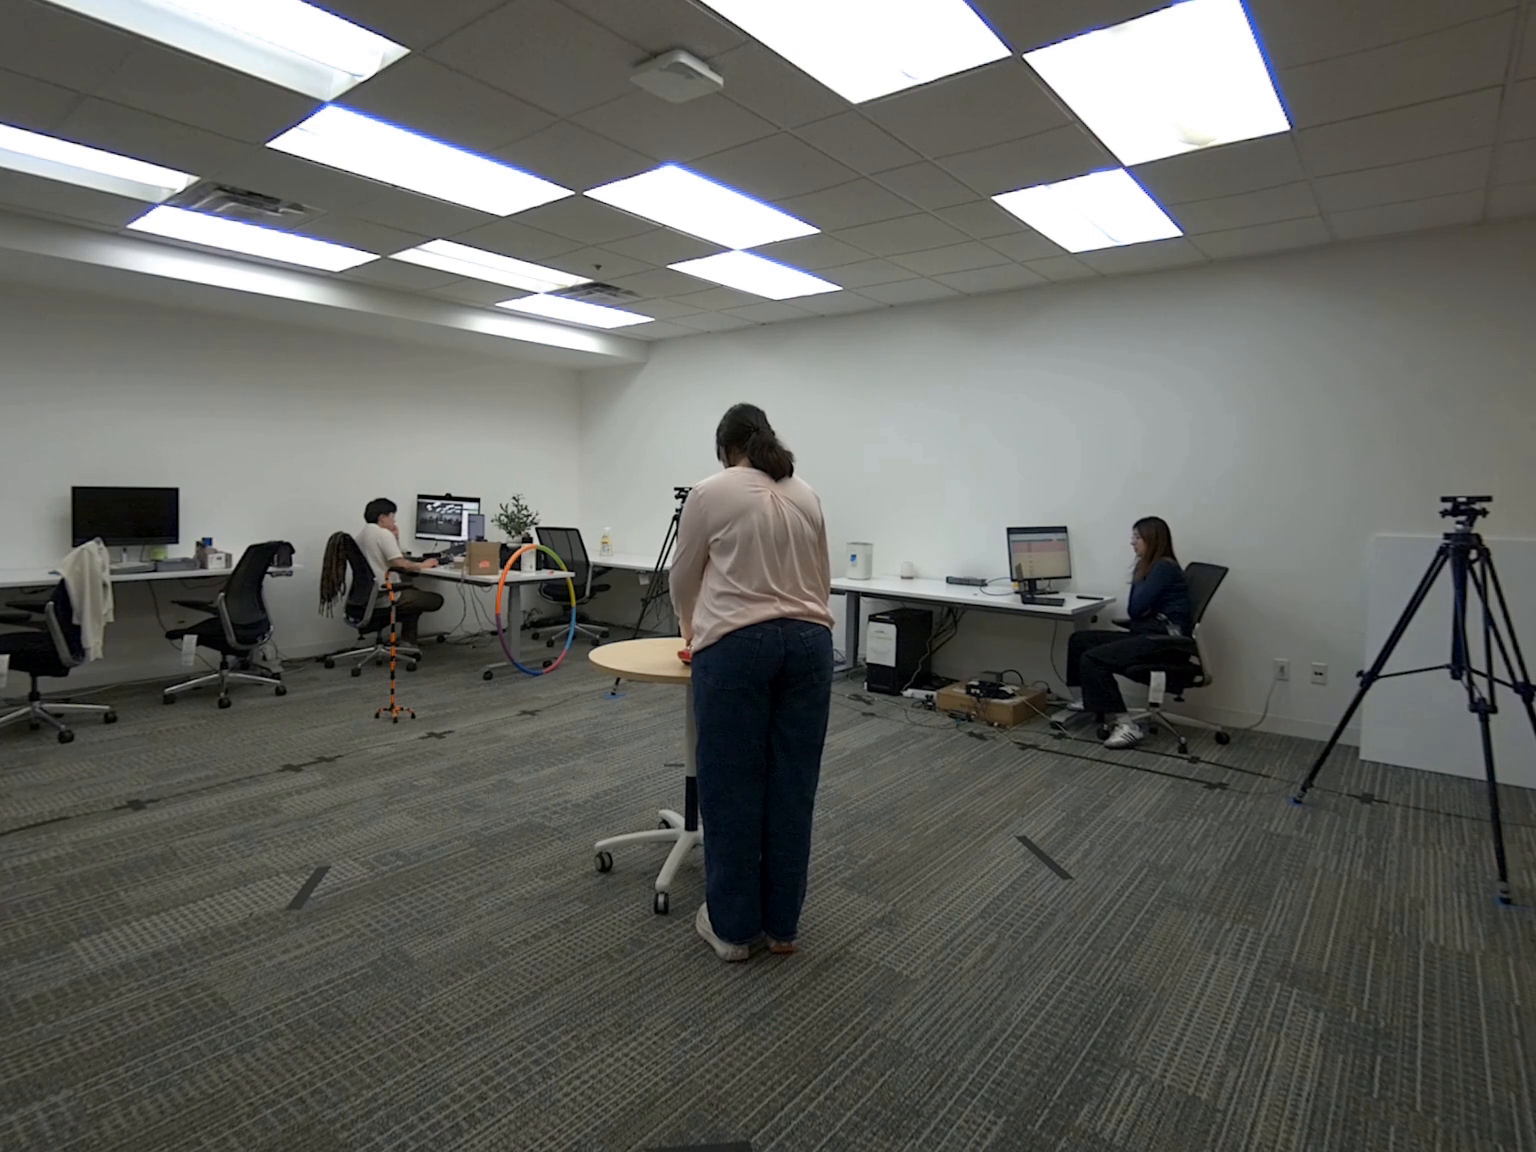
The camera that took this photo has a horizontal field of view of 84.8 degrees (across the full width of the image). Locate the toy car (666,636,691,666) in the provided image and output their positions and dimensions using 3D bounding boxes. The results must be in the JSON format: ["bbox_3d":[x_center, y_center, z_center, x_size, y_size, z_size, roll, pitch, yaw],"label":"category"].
[{"bbox_3d":[-0.223,0.266,2.926,0.134,0.083,0.246,4,-5,32],"label":"toy car"}]
